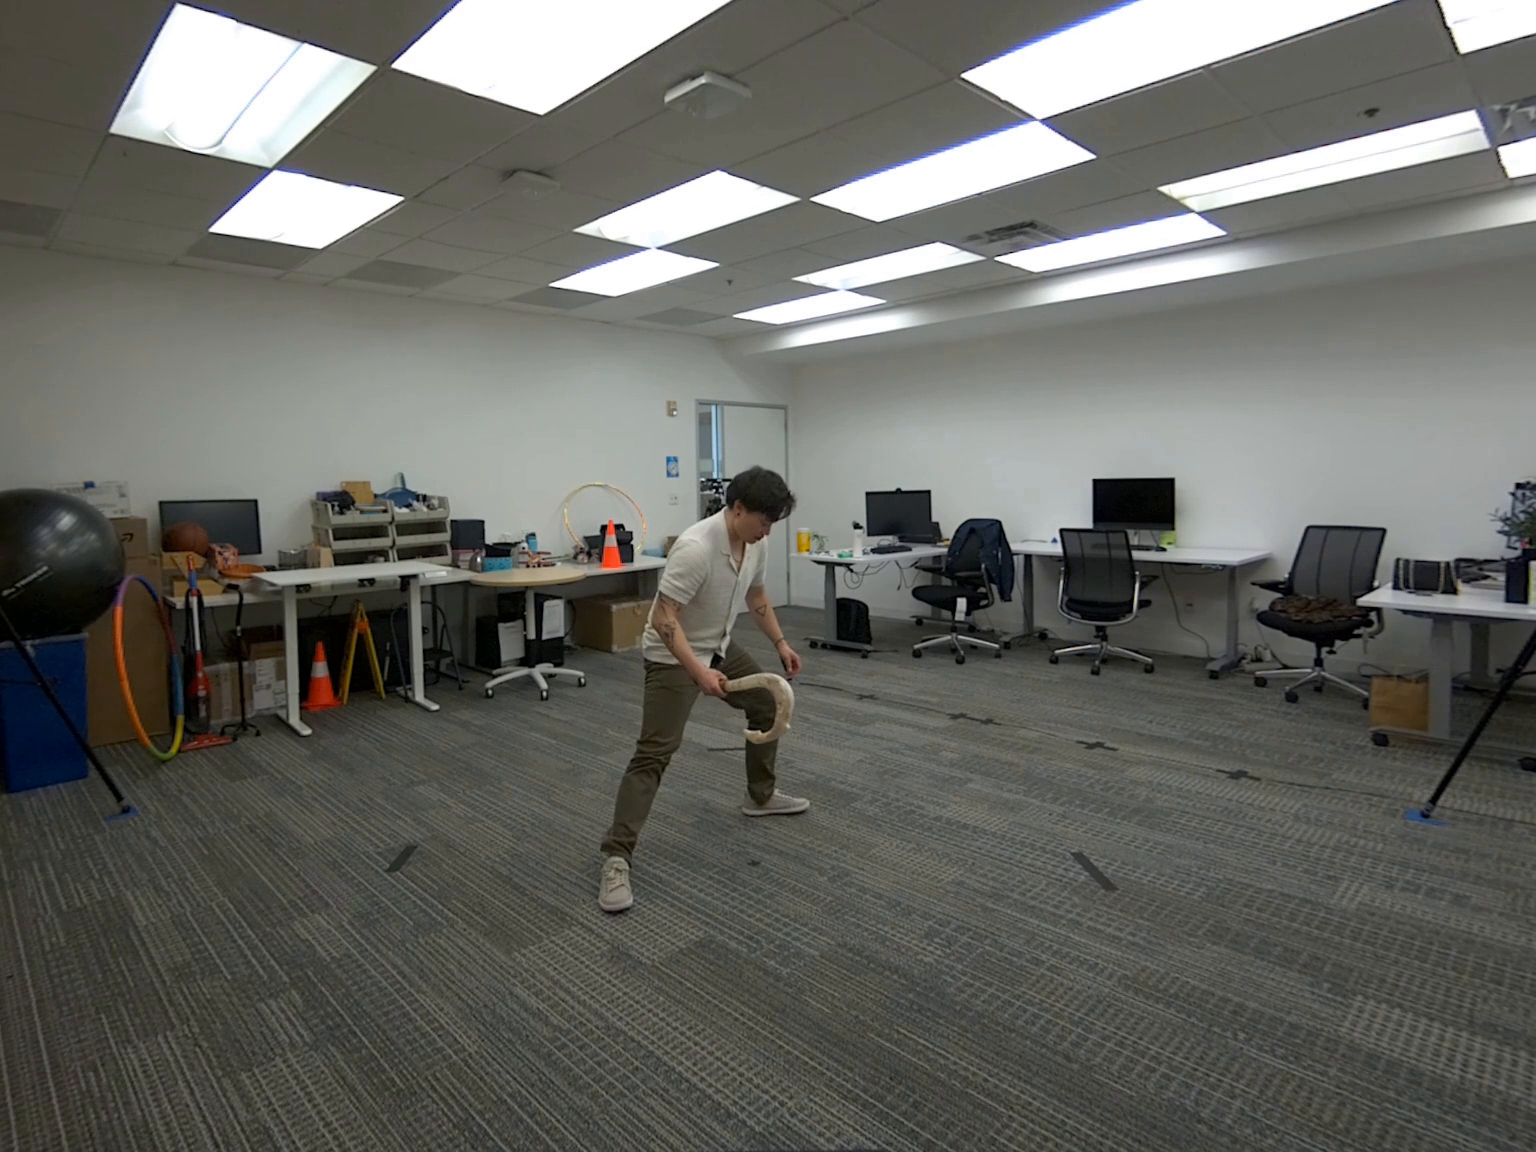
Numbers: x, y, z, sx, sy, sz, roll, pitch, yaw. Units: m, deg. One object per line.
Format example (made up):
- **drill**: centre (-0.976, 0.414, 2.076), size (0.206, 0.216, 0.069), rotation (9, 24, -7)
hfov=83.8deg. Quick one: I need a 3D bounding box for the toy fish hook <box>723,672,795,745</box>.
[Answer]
- **toy fish hook**: centre (-0.099, 0.428, 2.837), size (0.046, 0.226, 0.521), rotation (21, -13, -39)
